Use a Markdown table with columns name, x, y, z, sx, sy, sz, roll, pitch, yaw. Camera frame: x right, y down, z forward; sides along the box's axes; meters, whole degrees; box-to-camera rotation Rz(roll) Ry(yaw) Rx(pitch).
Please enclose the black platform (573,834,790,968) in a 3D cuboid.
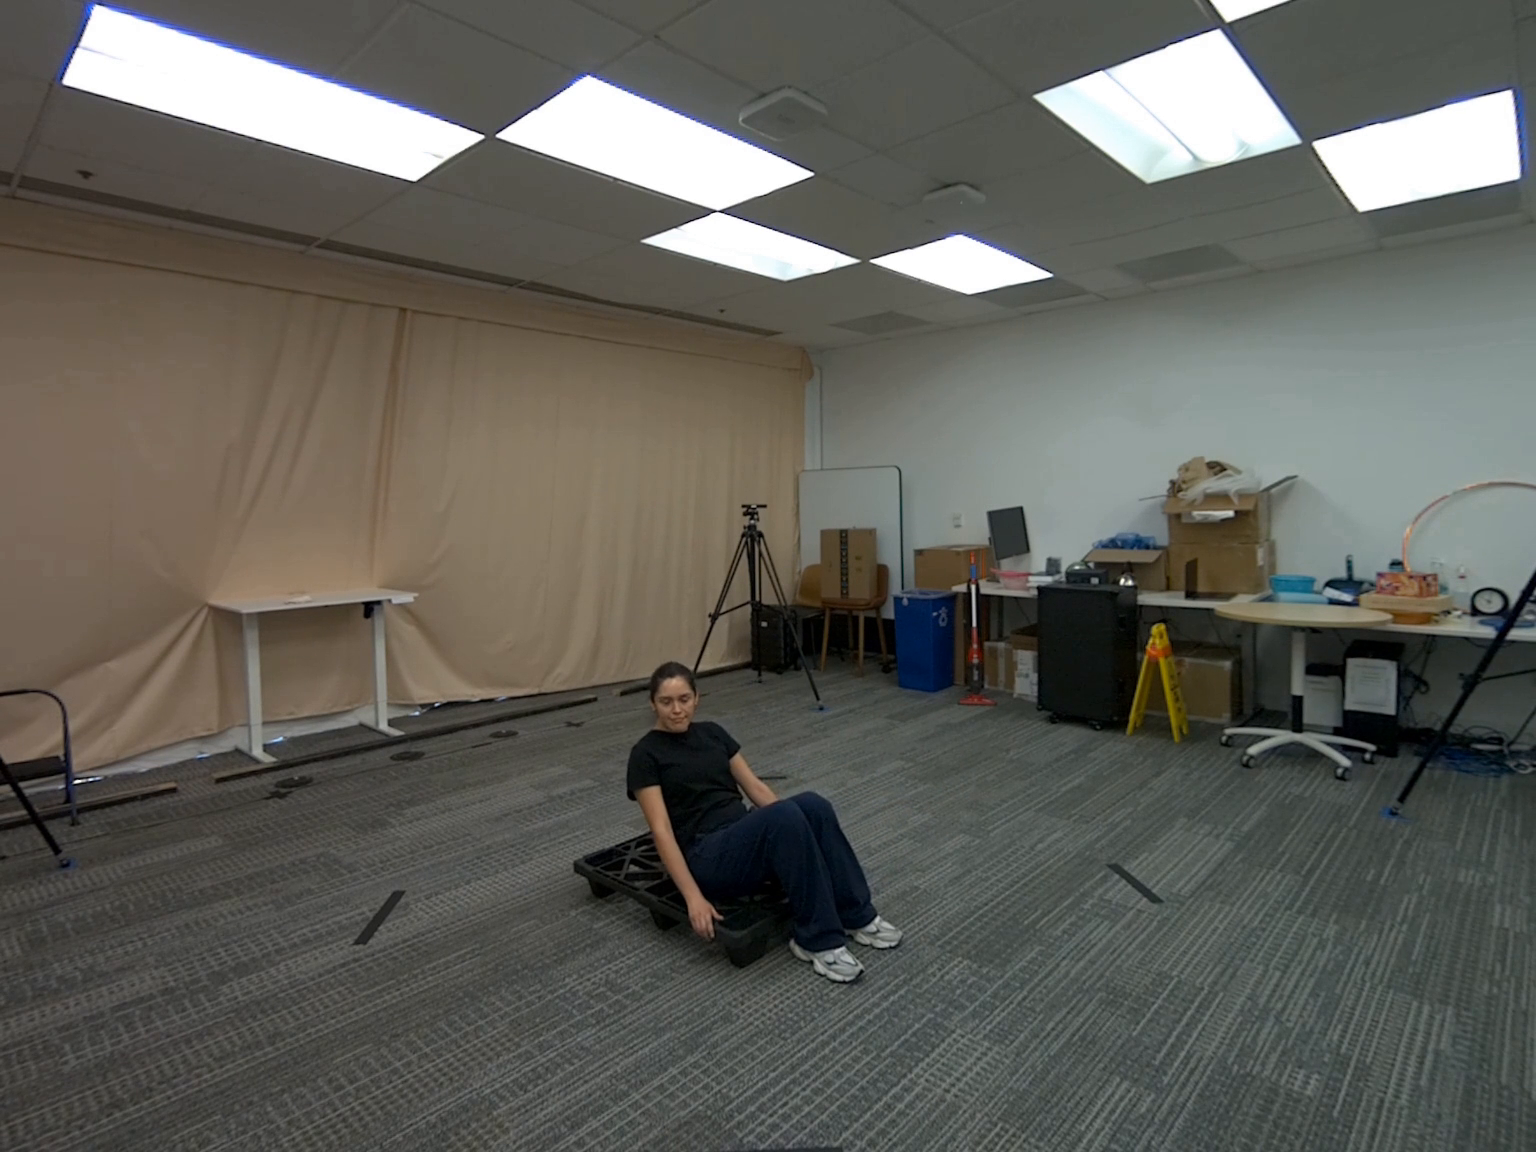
| name | x | y | z | sx | sy | sz | roll | pitch | yaw |
| --- | --- | --- | --- | --- | --- | --- | --- | --- | --- |
| black platform | -0.191 | 1.083 | 2.944 | 0.832 | 0.143 | 0.587 | 4 | 7 | 42 |
